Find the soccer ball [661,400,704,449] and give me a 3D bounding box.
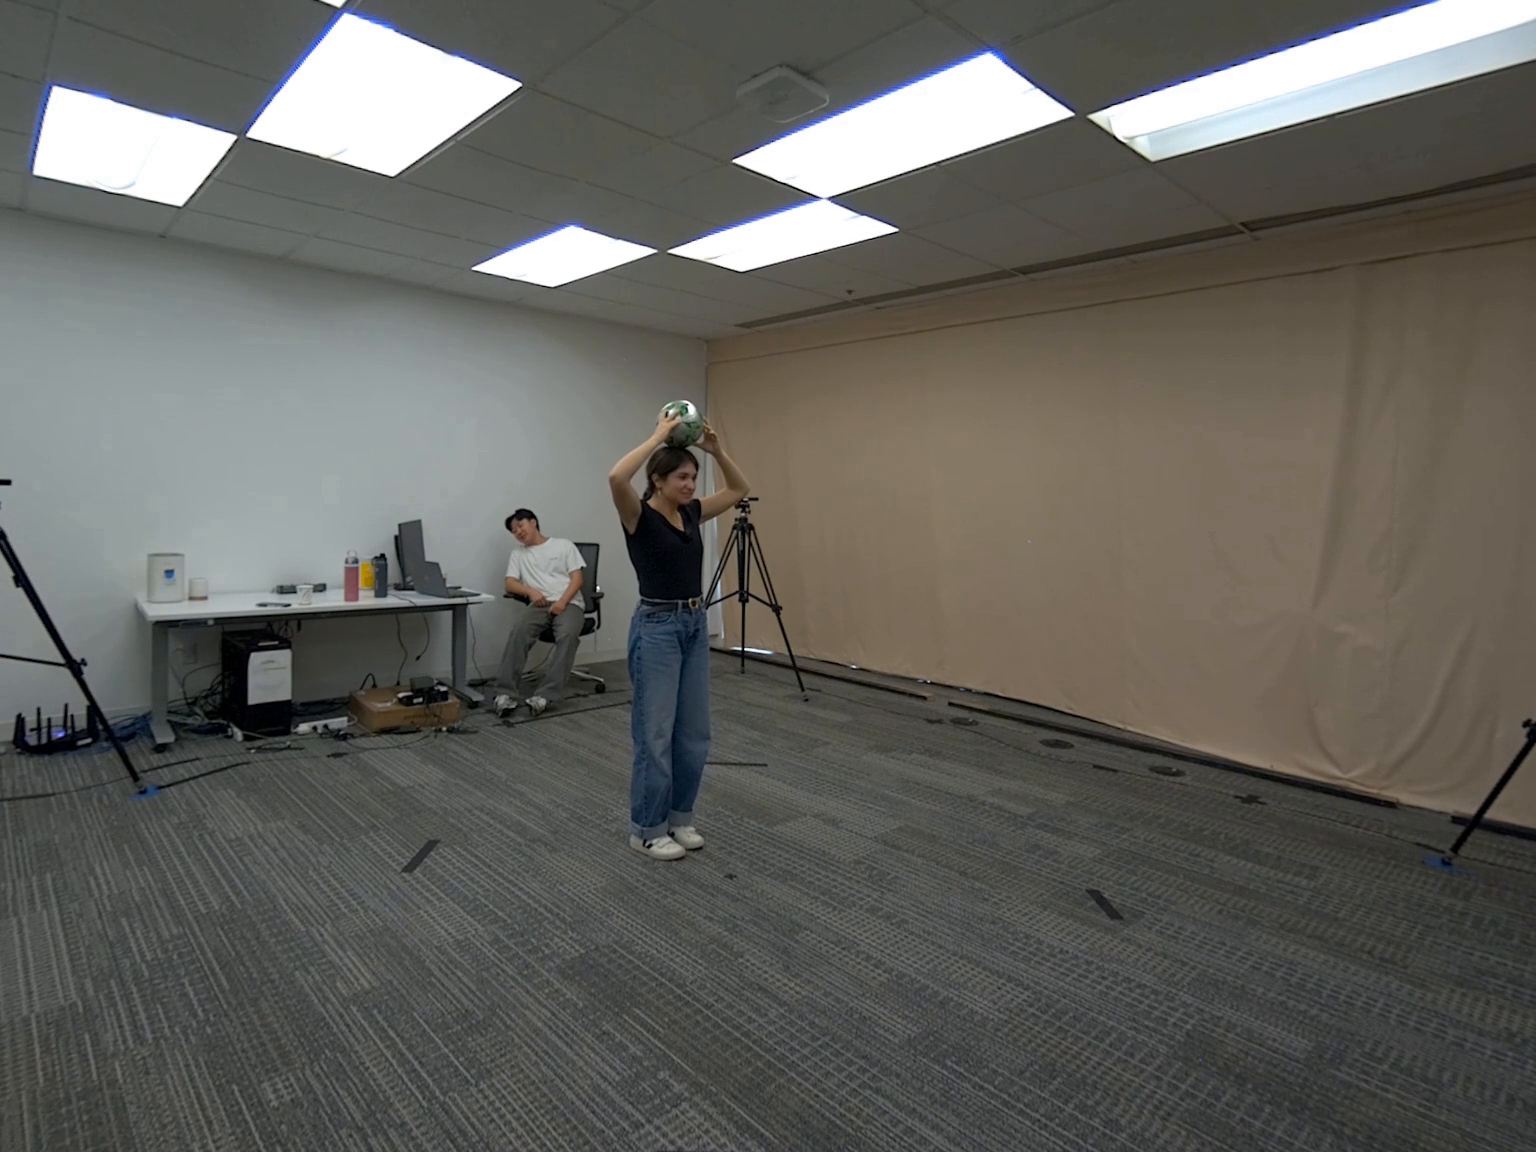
[{"bbox_3d":[-0.353,-0.590,3.290,0.187,0.187,0.188,1,4,-1],"label":"soccer ball"}]
